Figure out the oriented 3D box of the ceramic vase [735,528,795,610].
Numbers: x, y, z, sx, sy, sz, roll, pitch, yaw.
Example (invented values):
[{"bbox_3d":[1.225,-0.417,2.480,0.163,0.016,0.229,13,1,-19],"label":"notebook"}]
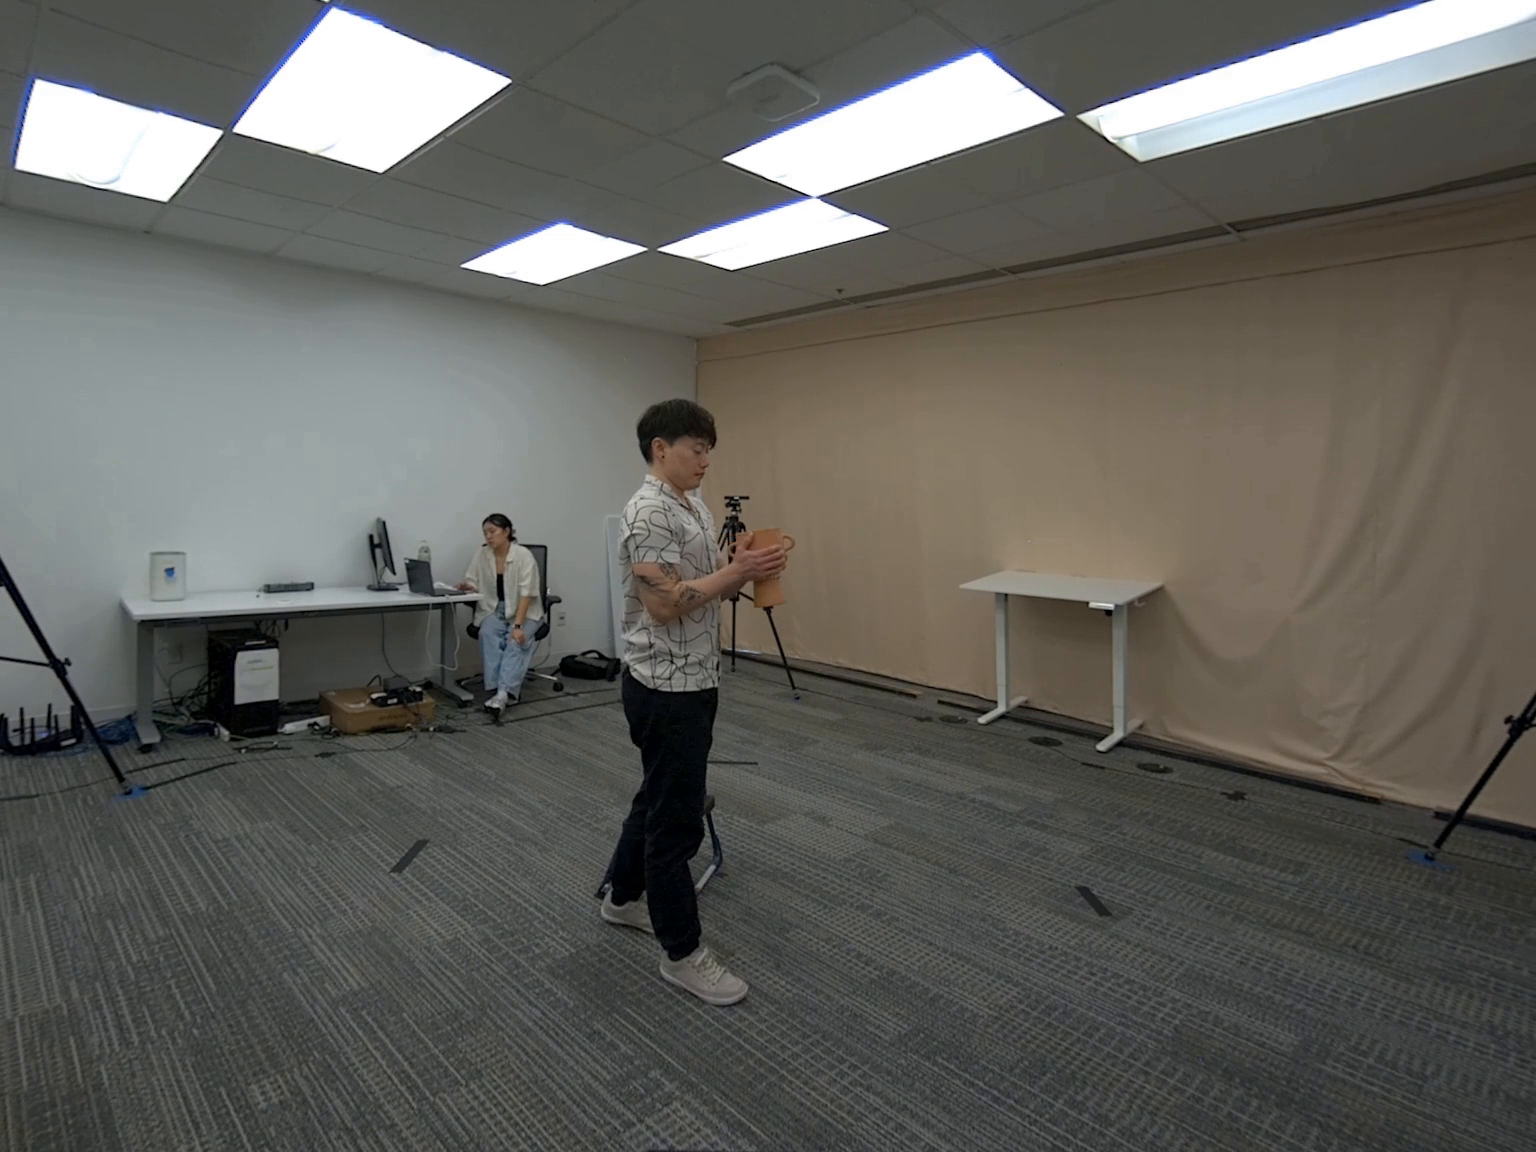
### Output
[{"bbox_3d":[-0.017,-0.026,2.450,0.162,0.219,0.132,-7,3,33],"label":"ceramic vase"}]
